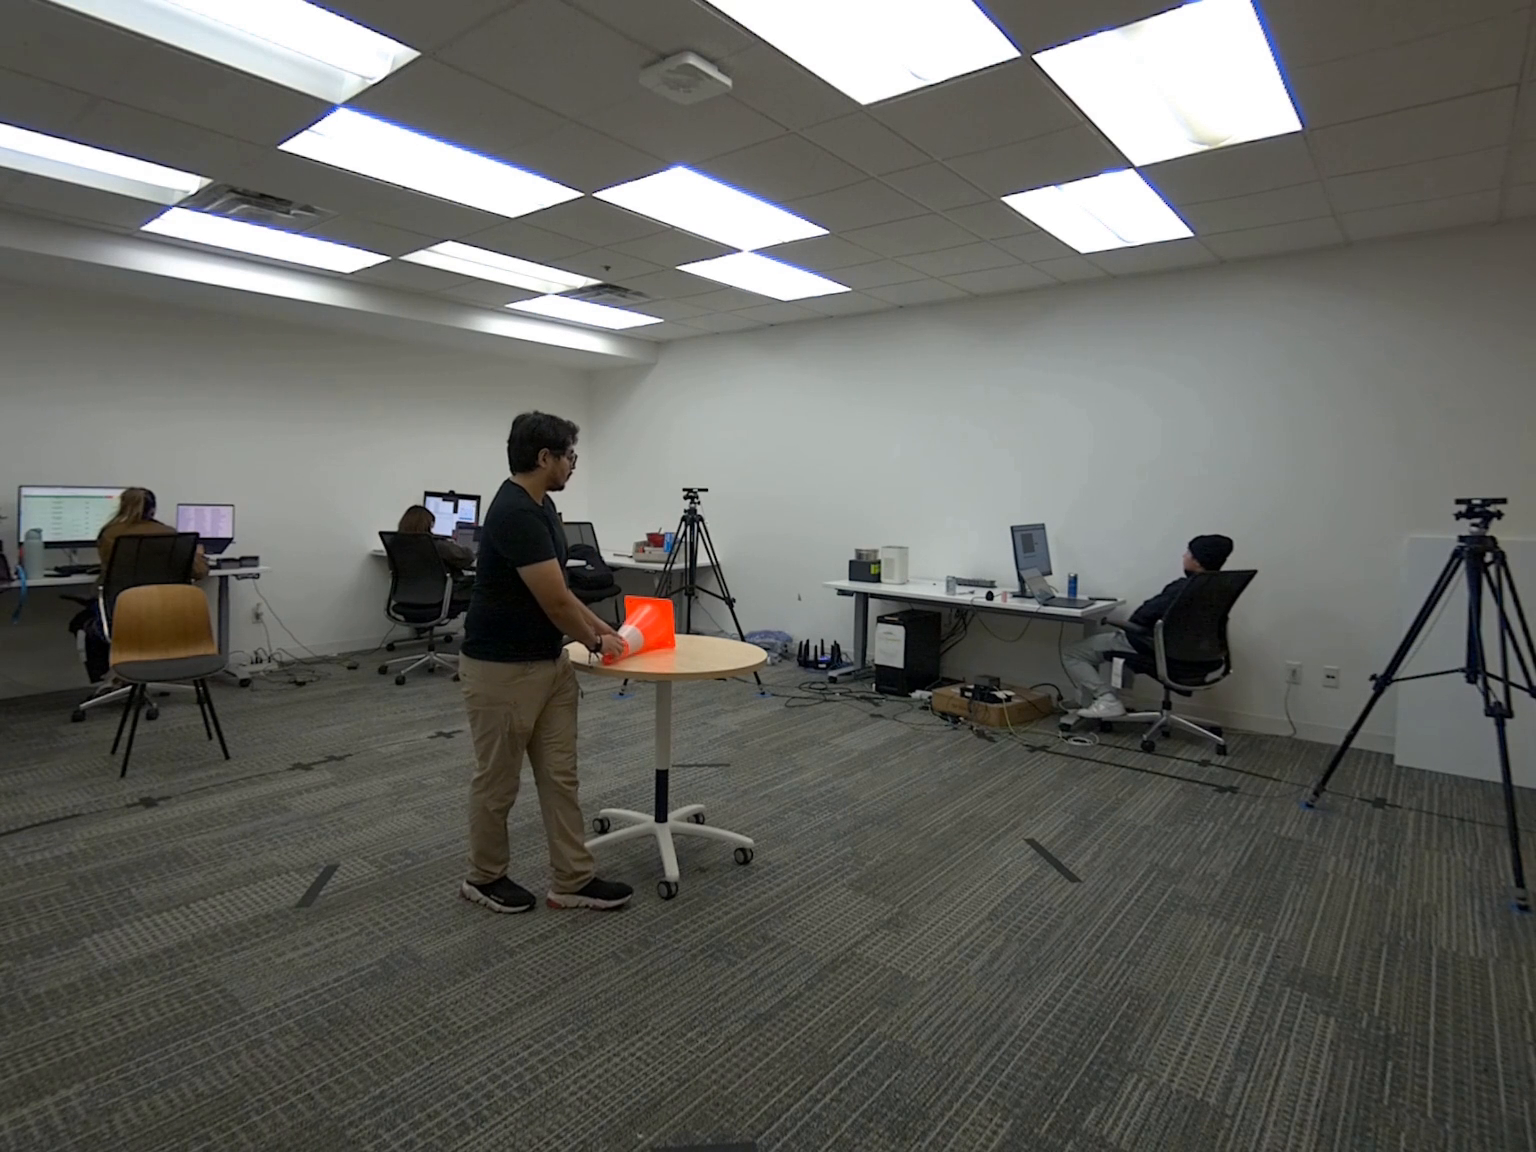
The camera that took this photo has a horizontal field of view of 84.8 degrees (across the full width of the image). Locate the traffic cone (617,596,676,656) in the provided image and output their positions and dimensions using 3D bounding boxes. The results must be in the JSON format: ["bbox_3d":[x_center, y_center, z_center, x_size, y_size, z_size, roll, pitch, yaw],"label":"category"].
[{"bbox_3d":[-0.499,0.235,3.060,0.208,0.200,0.384,3,18,14],"label":"traffic cone"}]
